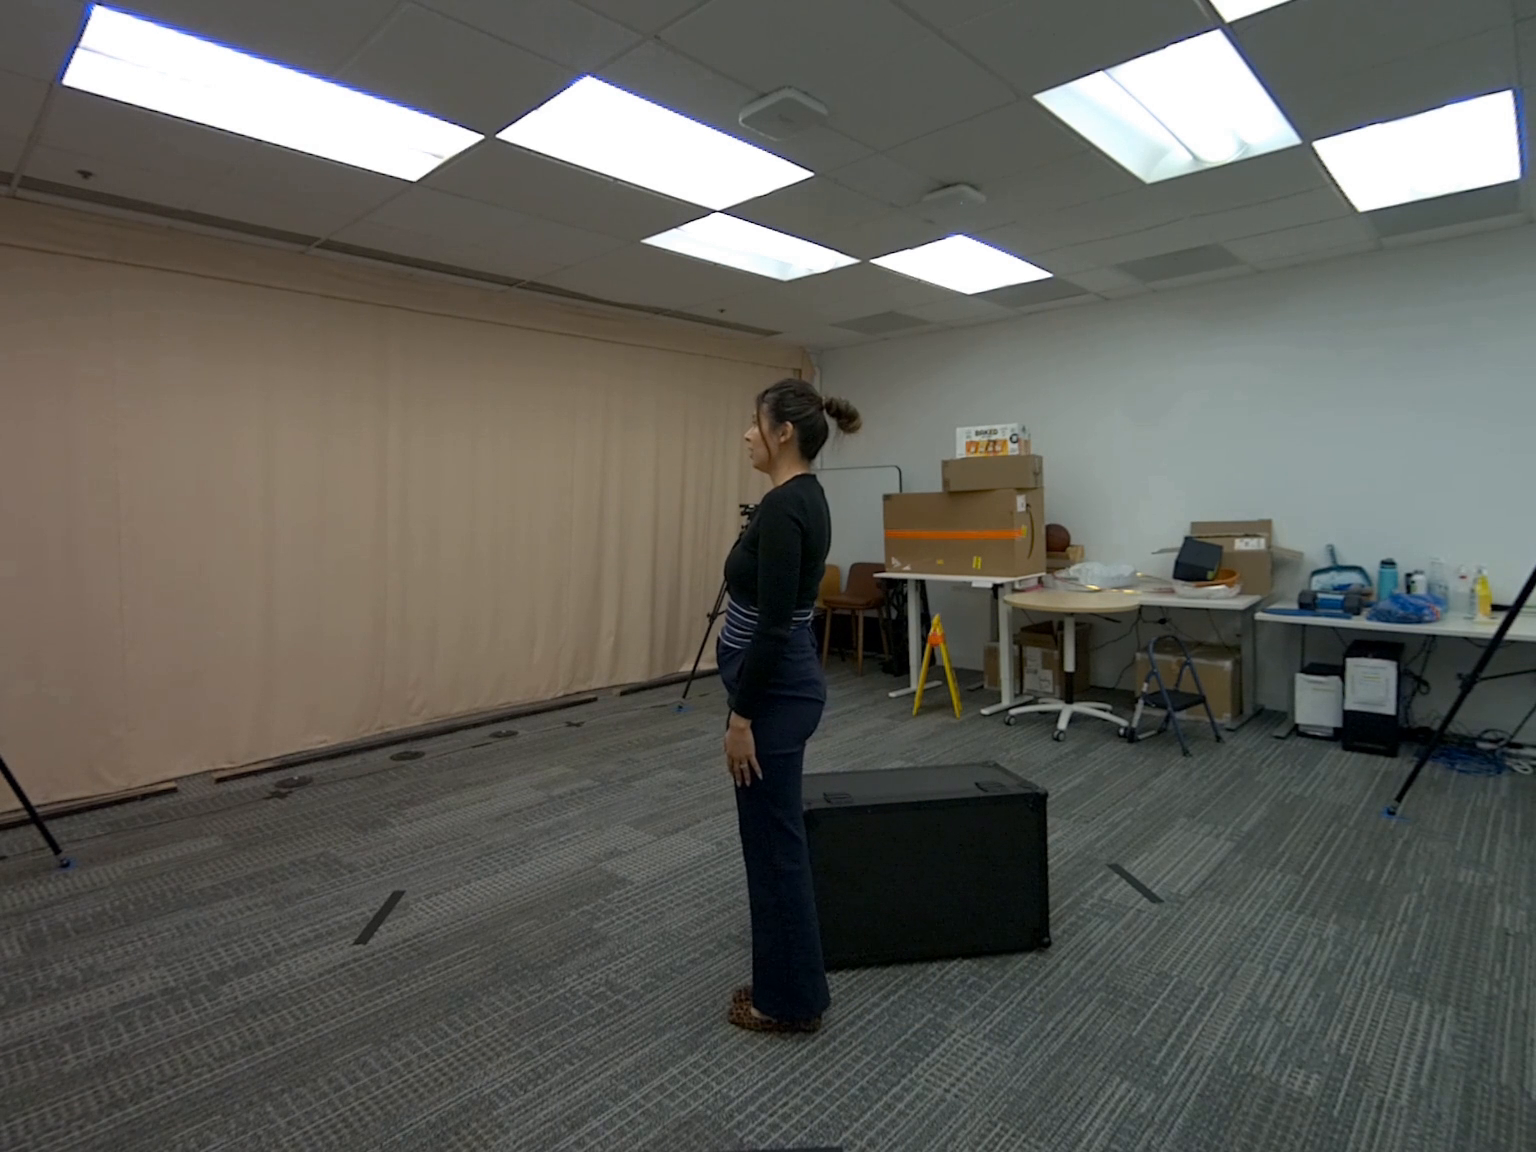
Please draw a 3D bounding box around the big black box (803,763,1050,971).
[{"bbox_3d":[0.418,0.898,2.711,0.853,0.521,0.400,-2,1,-9],"label":"big black box"}]
